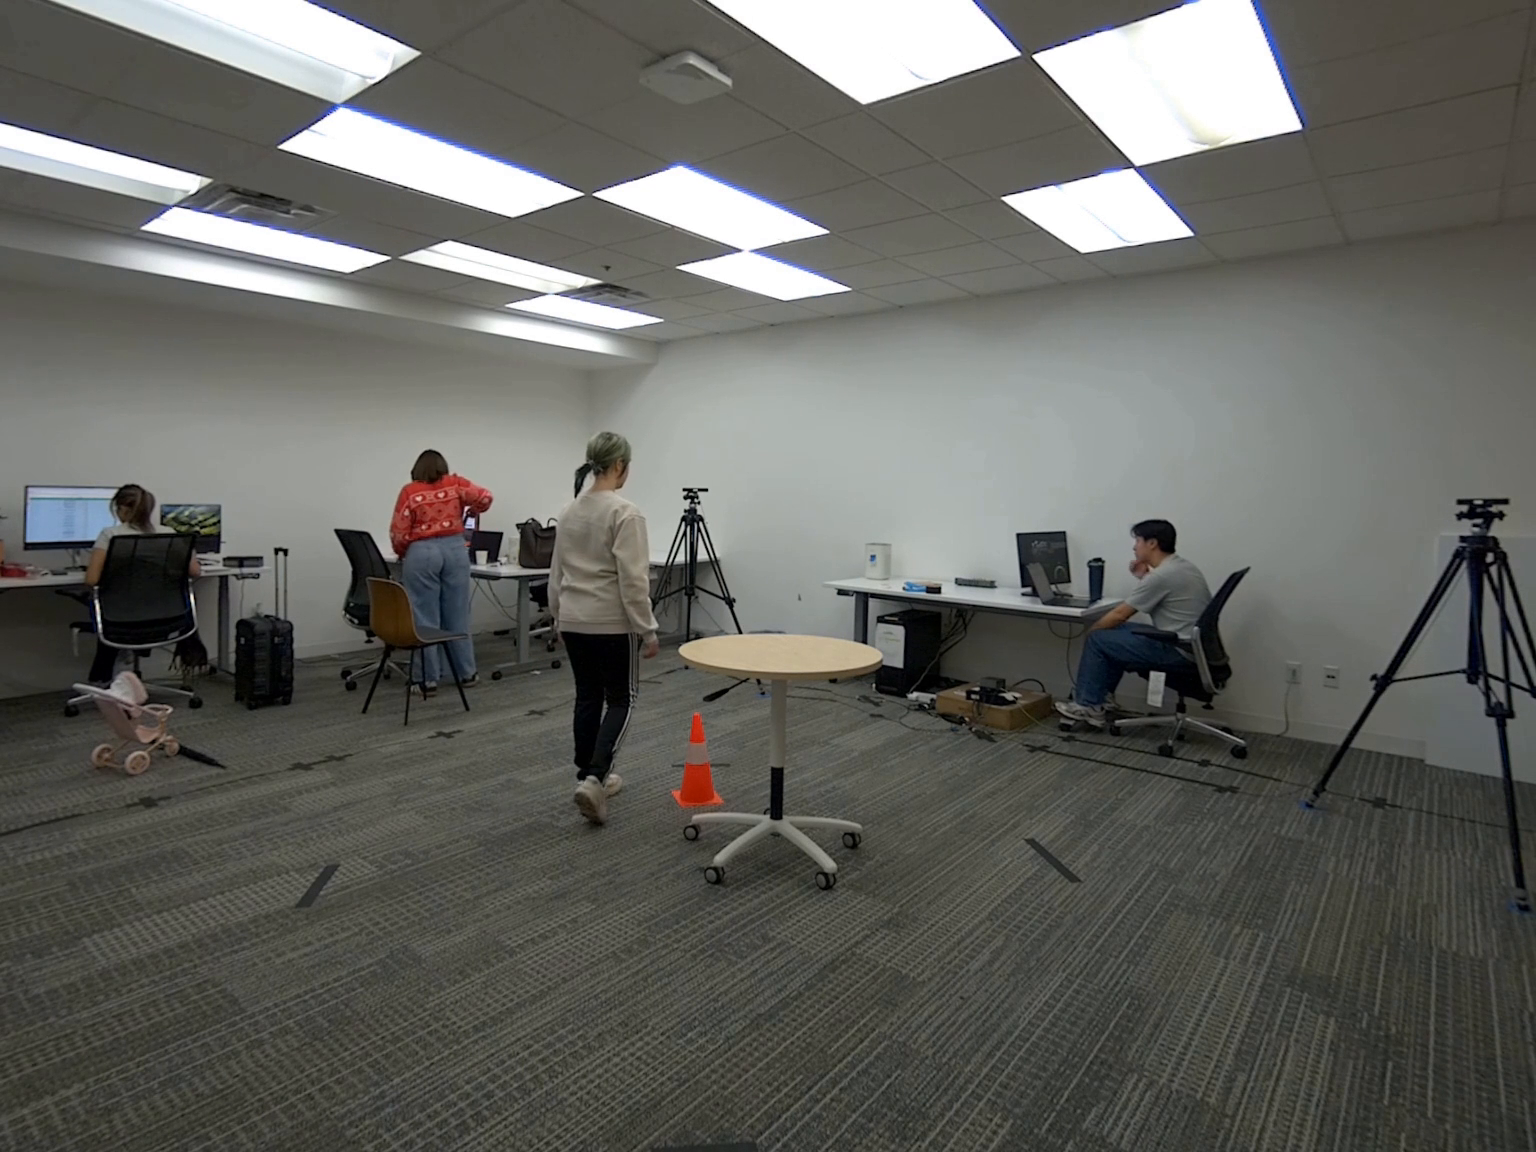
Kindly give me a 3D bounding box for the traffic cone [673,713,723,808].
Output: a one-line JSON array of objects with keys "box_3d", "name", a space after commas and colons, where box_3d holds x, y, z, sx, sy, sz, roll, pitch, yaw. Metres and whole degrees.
[{"box_3d": [-0.334, 0.813, 3.842, 0.199, 0.383, 0.209, 0, 2, -19], "name": "traffic cone"}]
